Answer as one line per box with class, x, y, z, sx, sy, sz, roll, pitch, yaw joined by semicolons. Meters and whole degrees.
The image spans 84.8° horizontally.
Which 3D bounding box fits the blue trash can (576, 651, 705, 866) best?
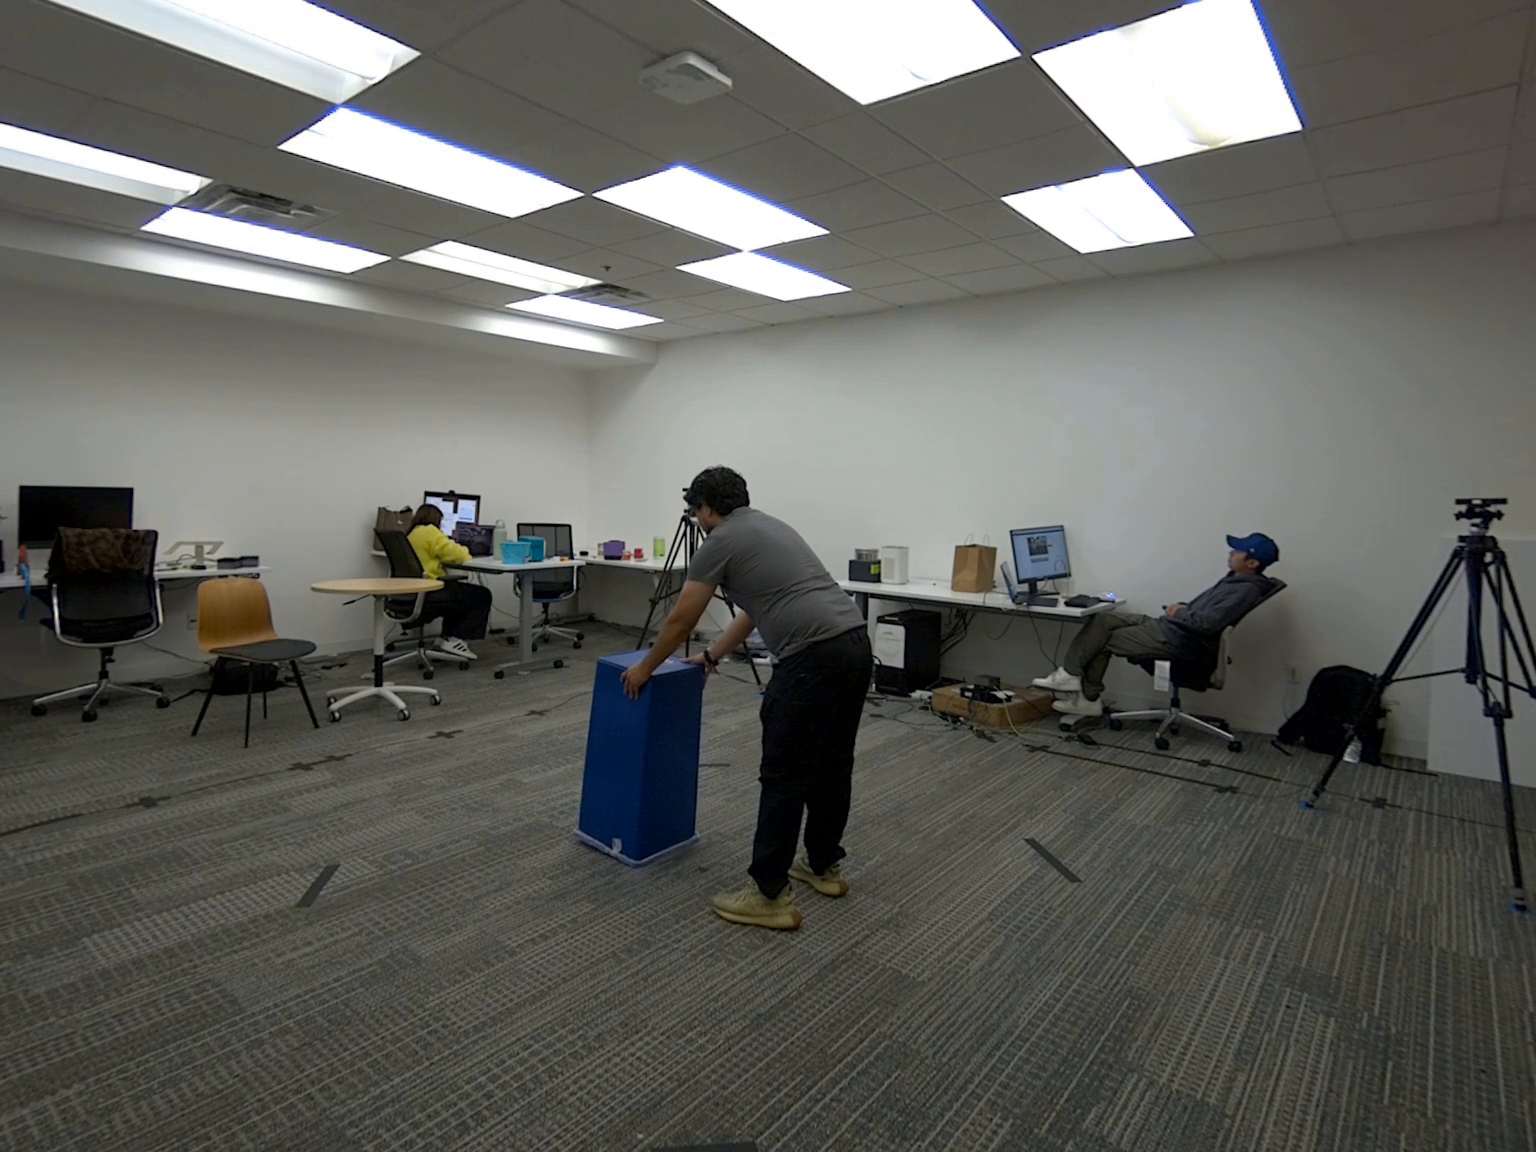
blue trash can;-0.491;0.678;3.323;0.391;0.710;0.363;9;7;37
